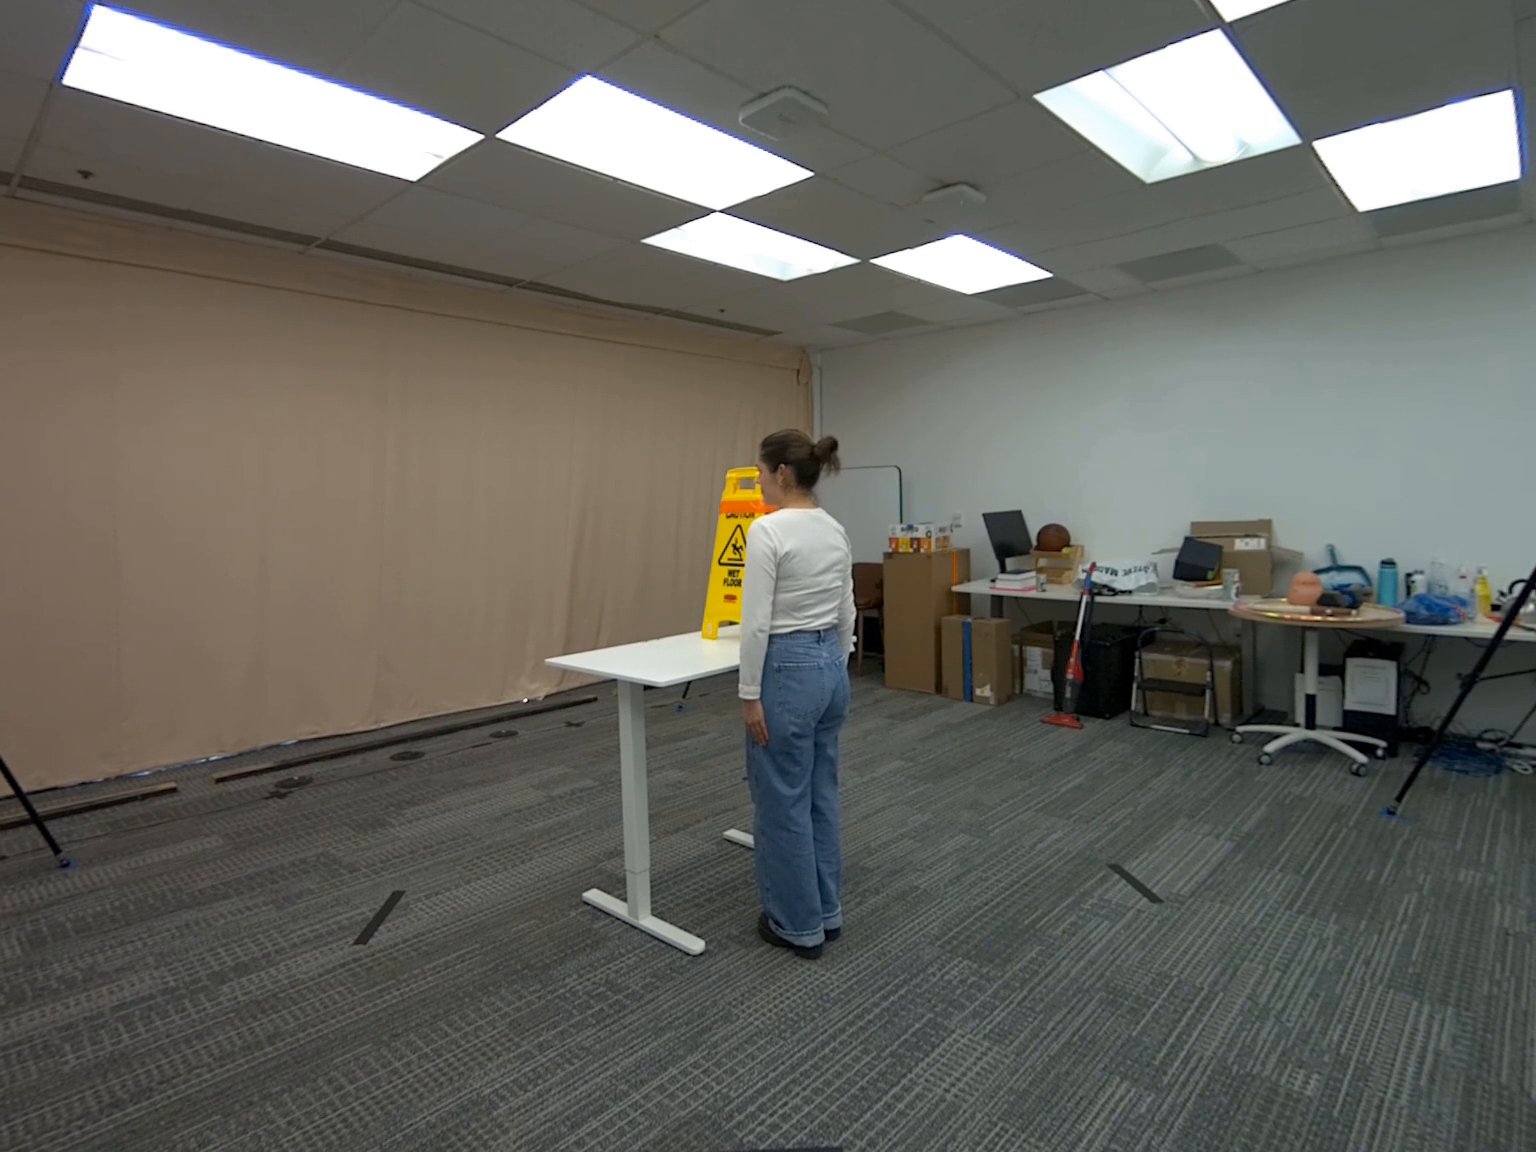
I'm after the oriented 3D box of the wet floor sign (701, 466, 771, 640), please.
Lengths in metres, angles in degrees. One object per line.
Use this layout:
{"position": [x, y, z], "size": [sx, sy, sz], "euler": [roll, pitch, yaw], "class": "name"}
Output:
{"position": [-0.067, -0.087, 3.241], "size": [0.291, 0.645, 0.281], "euler": [1, 3, 42], "class": "wet floor sign"}
